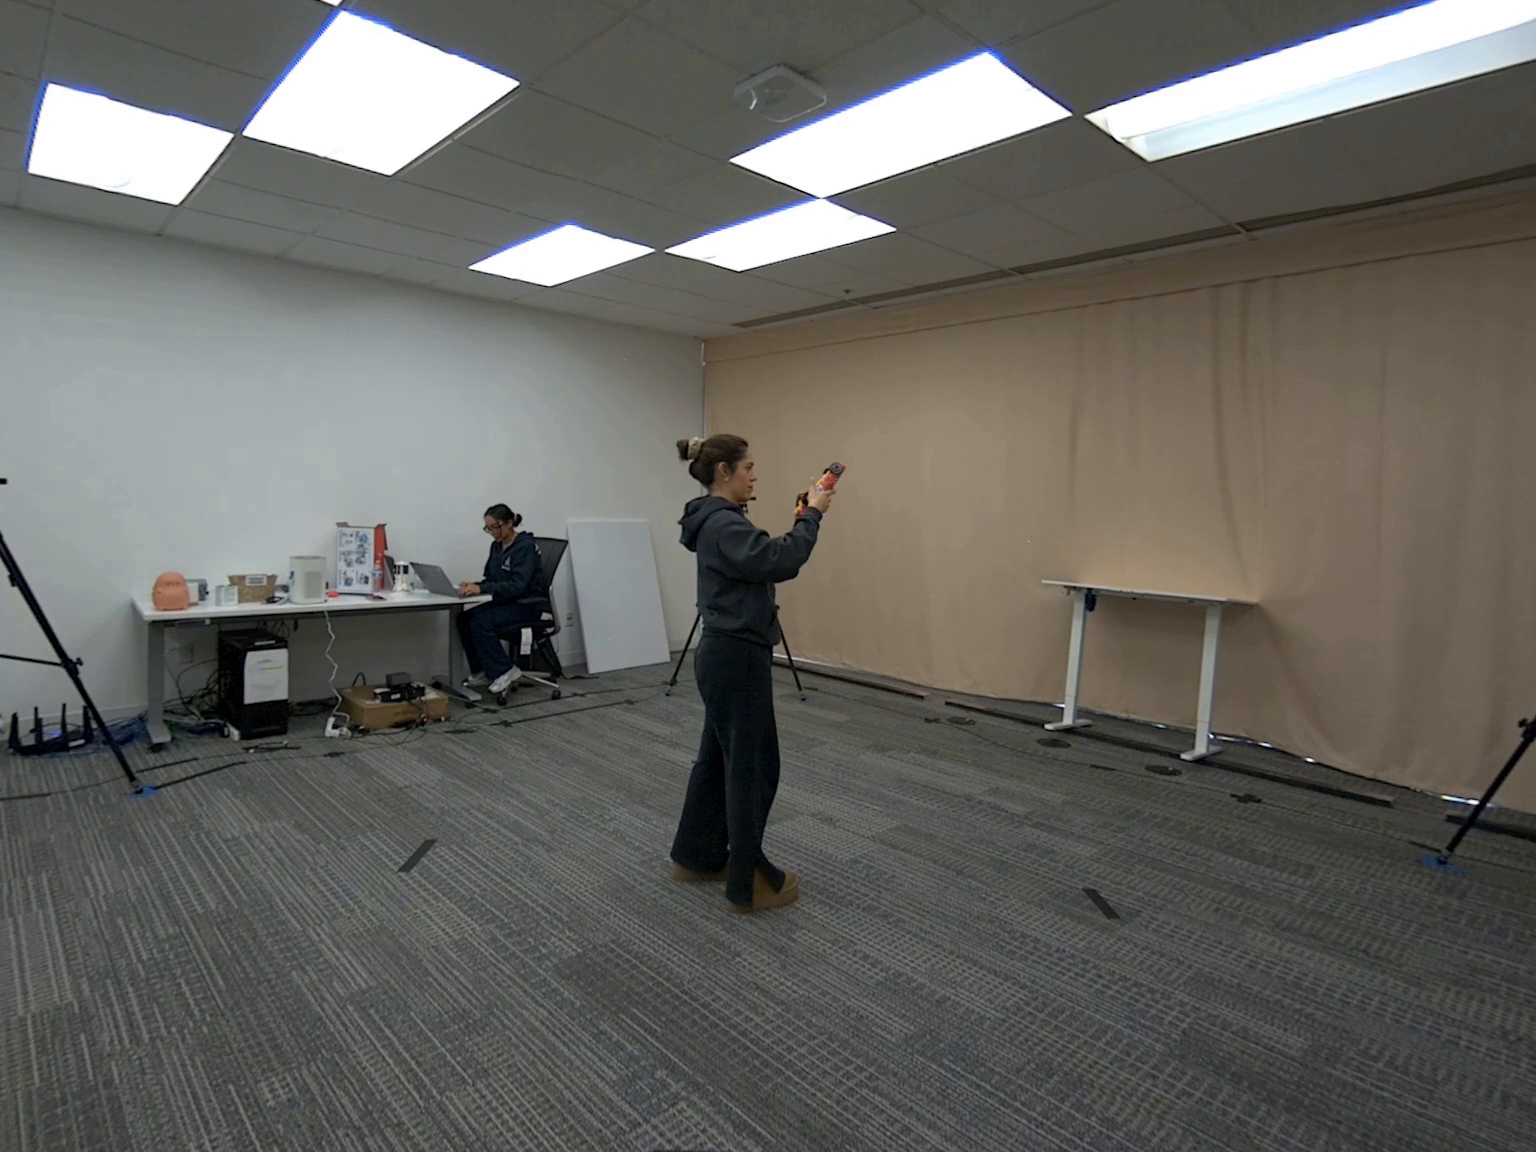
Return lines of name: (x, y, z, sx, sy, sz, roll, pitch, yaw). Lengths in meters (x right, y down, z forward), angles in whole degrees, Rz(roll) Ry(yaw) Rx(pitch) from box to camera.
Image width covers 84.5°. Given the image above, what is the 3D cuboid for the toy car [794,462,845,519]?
toy car: (0.155, -0.291, 2.921, 0.083, 0.255, 0.131, 33, -5, -5)
